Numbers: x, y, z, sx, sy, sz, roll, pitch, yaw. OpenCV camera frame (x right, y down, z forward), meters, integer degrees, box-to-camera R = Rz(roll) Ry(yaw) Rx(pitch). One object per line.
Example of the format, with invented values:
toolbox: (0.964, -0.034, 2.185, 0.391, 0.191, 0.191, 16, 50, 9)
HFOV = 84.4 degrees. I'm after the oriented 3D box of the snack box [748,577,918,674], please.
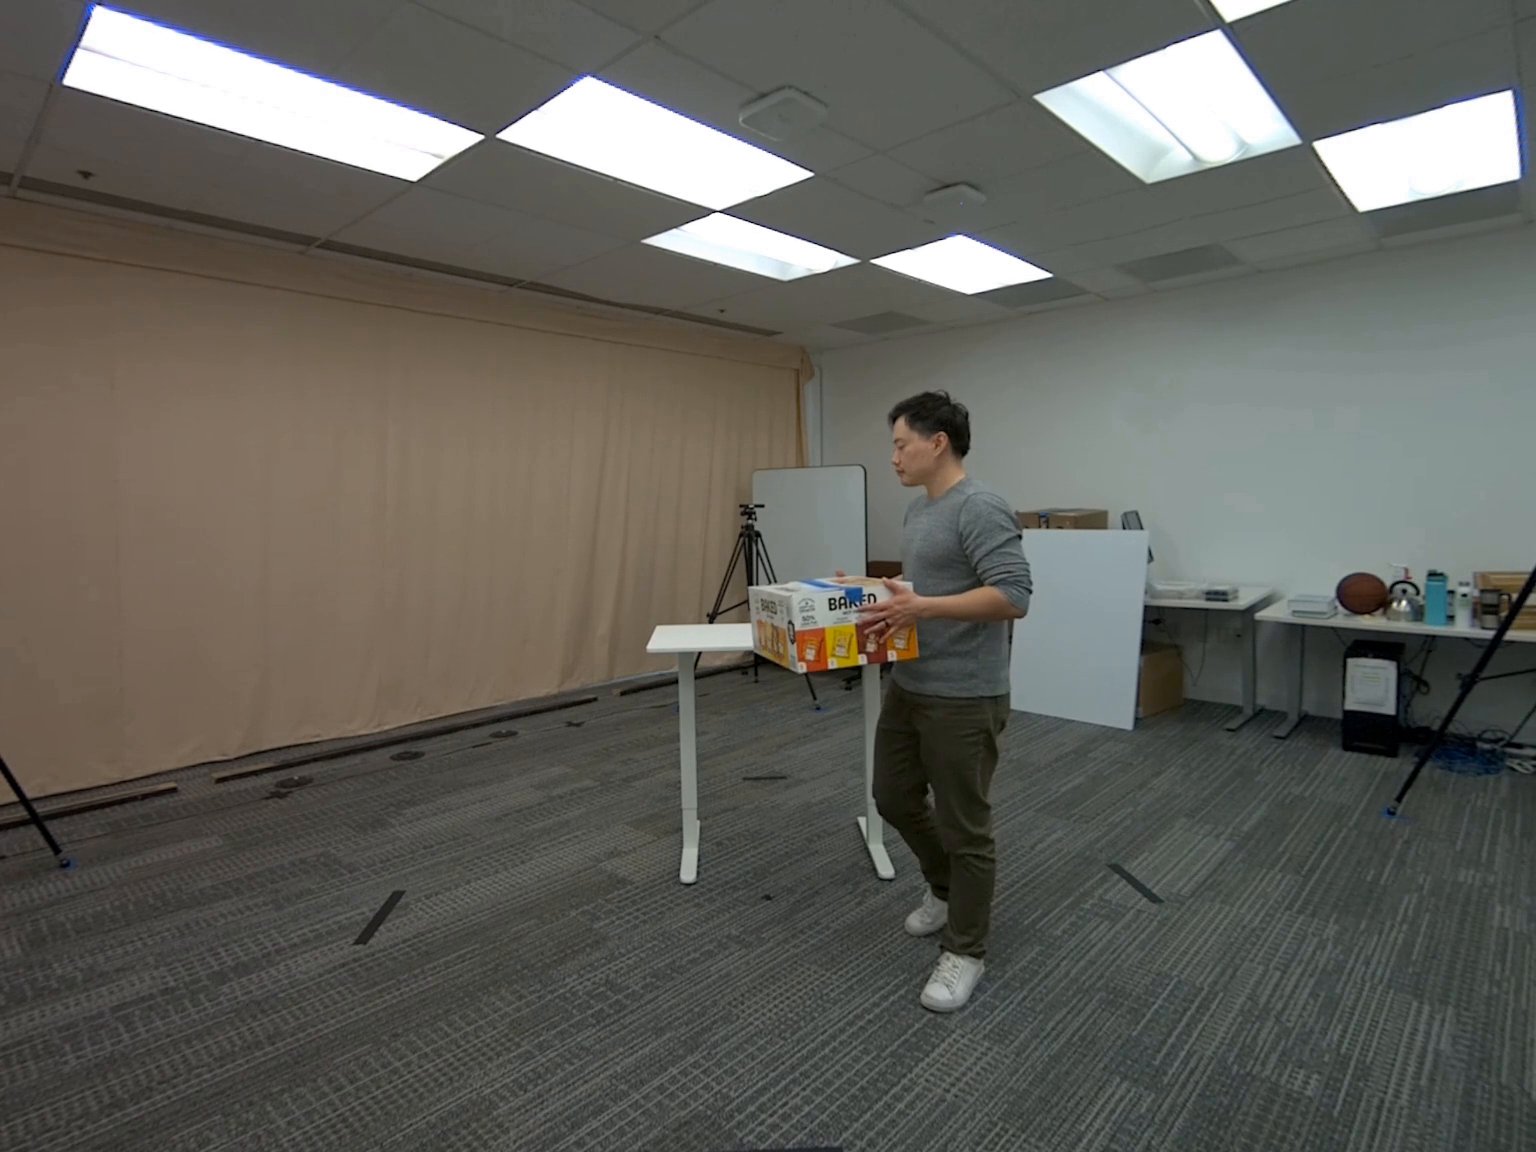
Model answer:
snack box: (0.173, 0.132, 2.378, 0.336, 0.205, 0.411, -5, 4, -14)
